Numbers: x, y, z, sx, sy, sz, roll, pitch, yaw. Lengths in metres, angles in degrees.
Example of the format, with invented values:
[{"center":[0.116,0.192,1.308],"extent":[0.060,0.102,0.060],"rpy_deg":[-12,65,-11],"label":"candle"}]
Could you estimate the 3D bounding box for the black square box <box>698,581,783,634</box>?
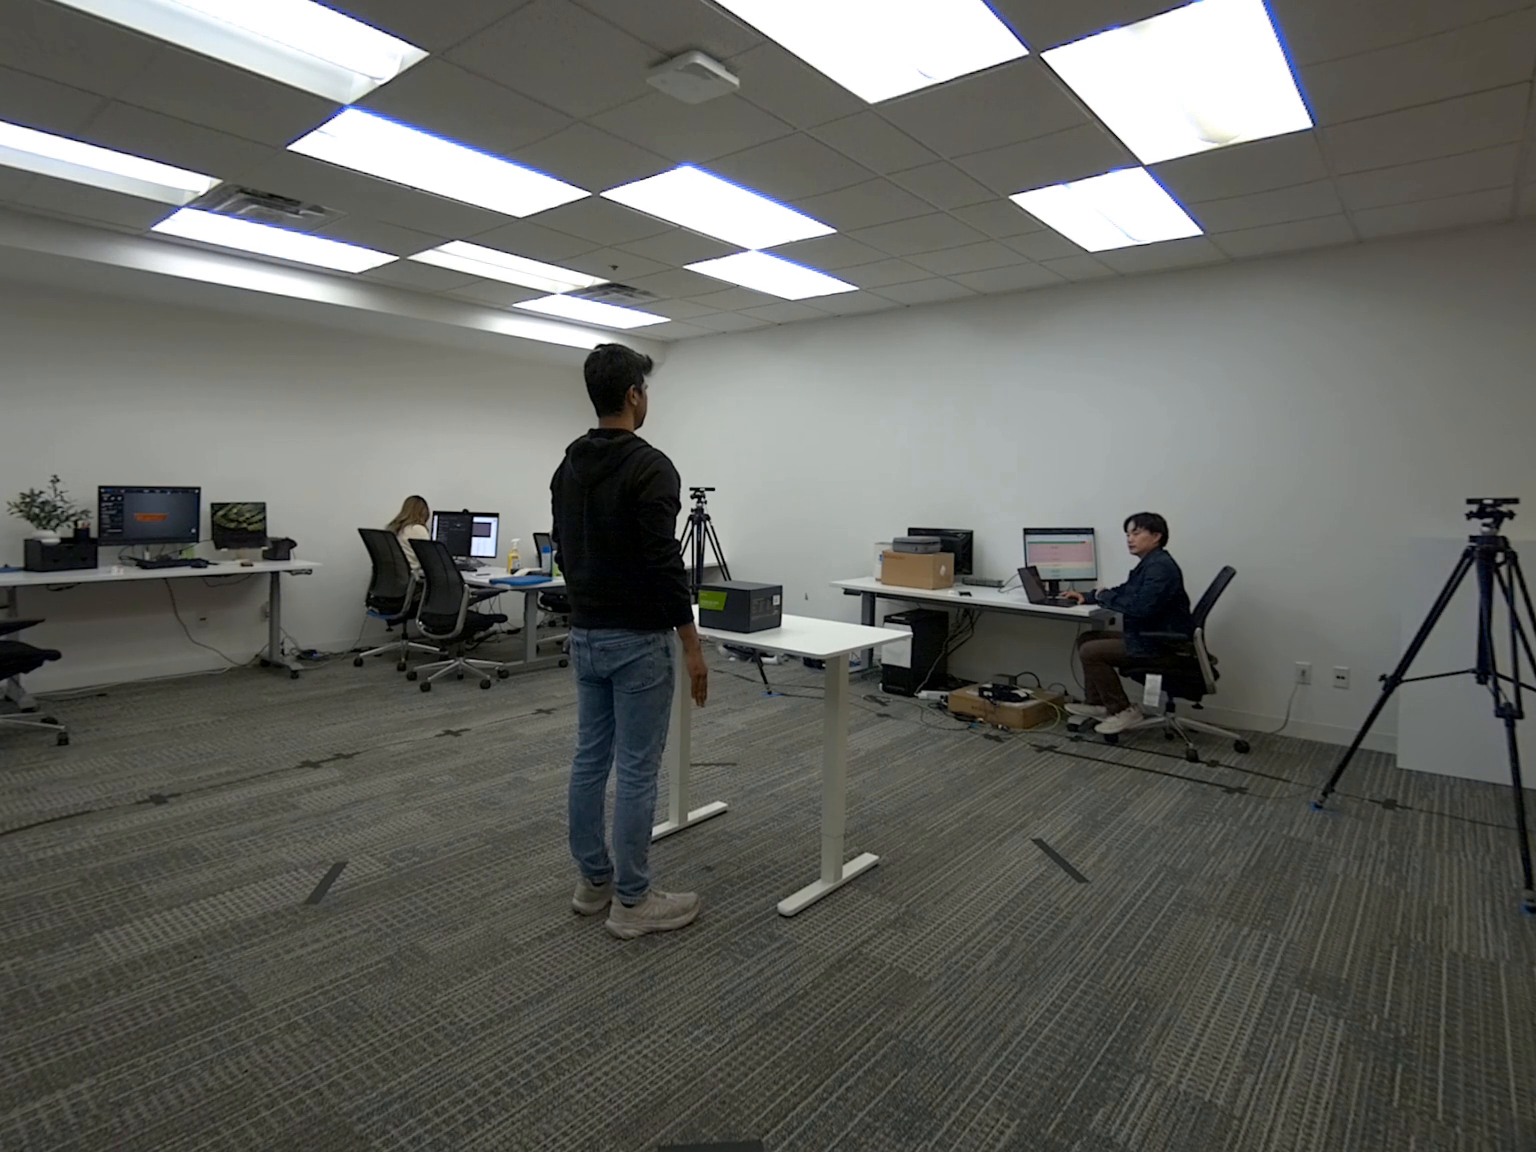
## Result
[{"center":[-0.110,0.106,3.119],"extent":[0.235,0.155,0.211],"rpy_deg":[5,6,35],"label":"black square box"}]
